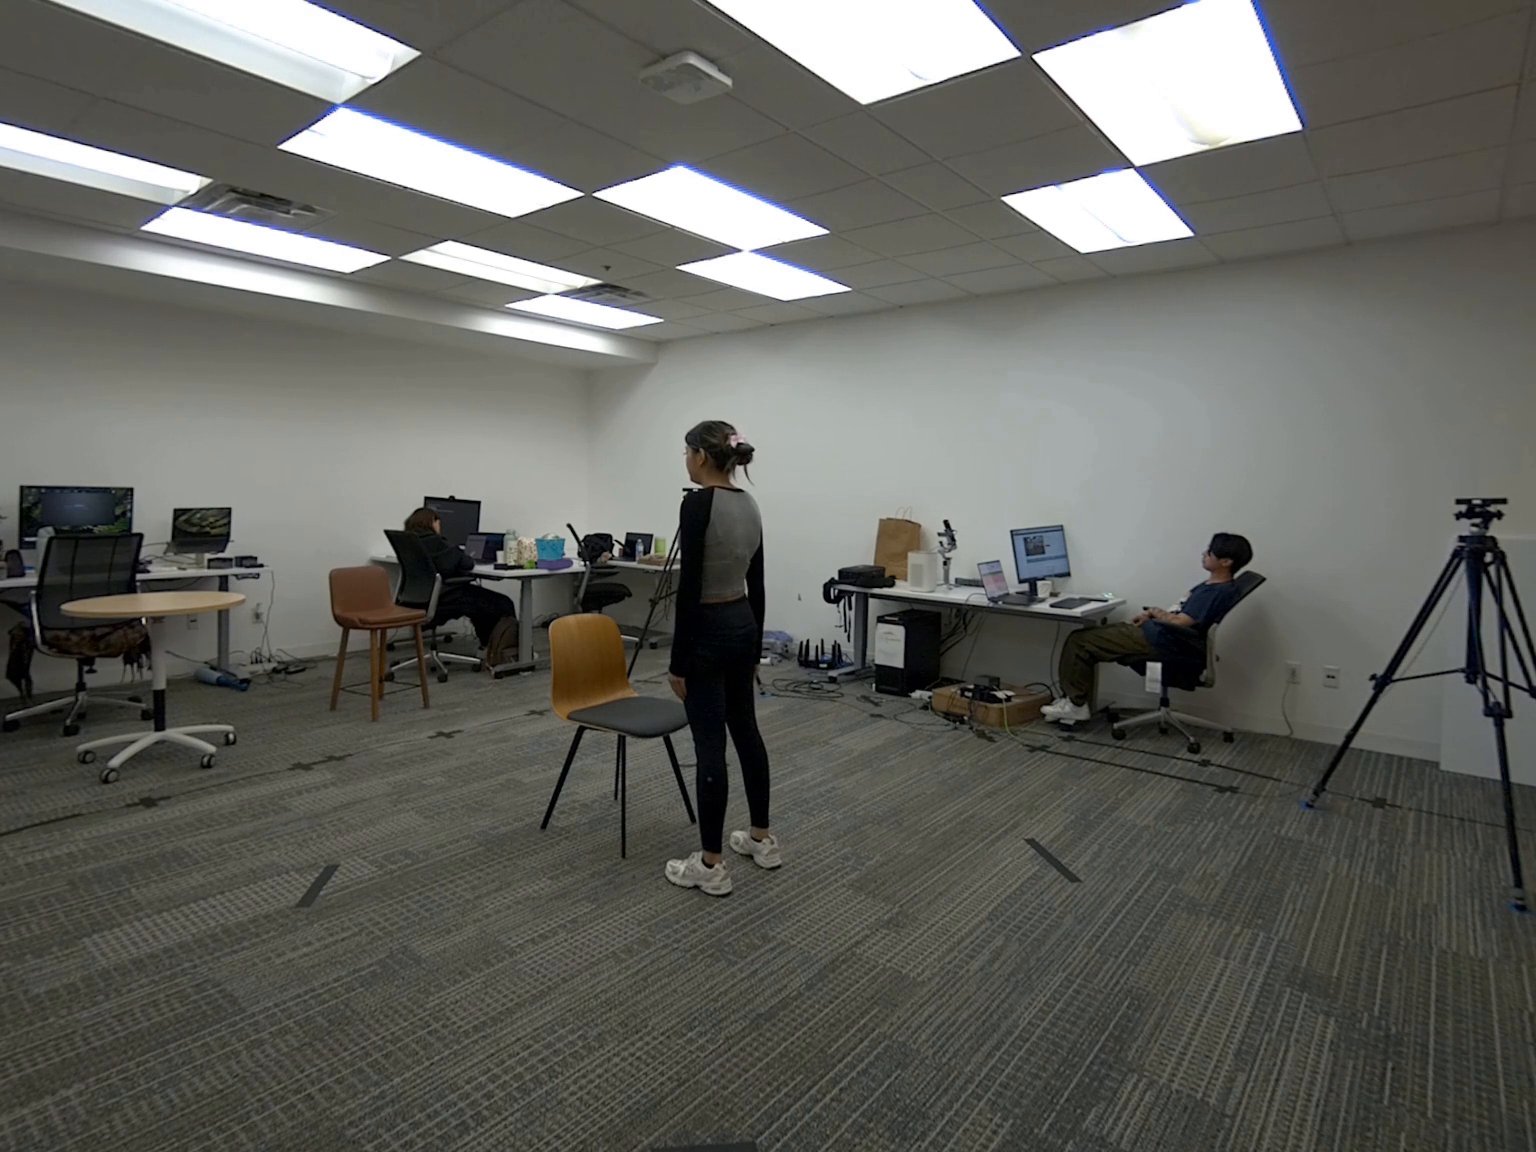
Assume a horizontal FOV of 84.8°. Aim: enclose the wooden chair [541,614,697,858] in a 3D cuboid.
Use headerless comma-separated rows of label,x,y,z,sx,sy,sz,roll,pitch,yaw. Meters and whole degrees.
wooden chair,-0.607,0.599,3.465,0.538,0.877,0.464,-2,1,34
